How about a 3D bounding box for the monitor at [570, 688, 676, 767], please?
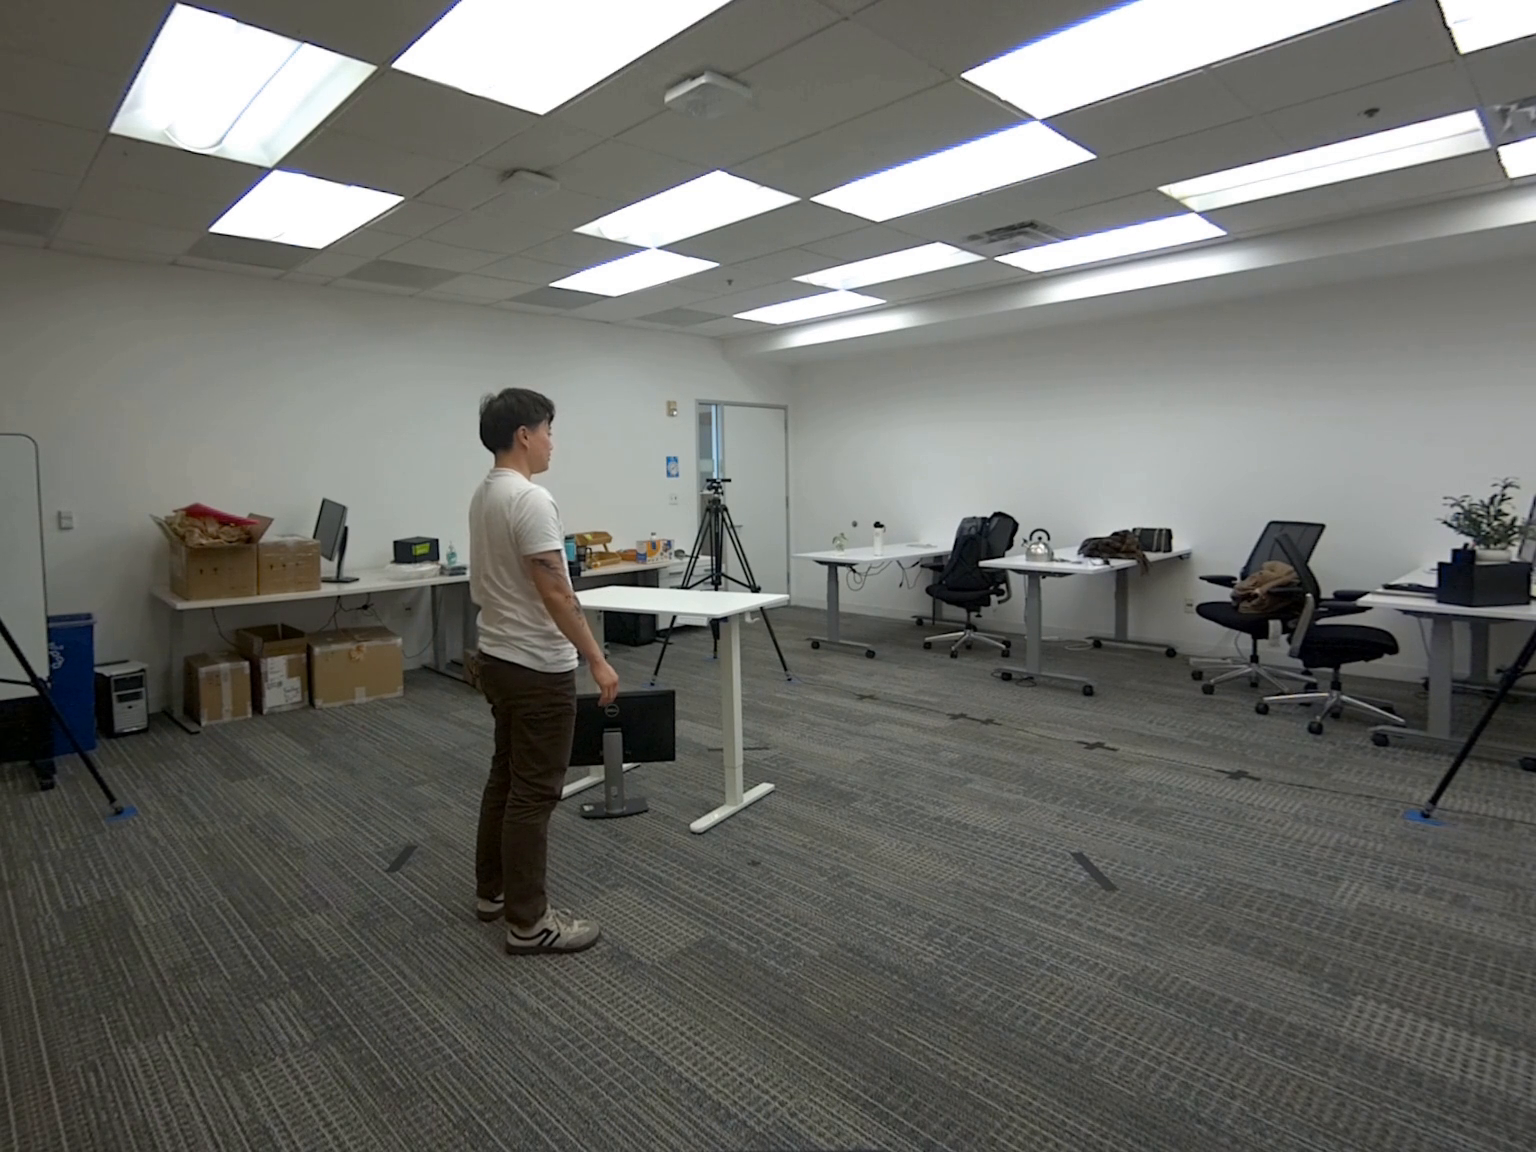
[{"bbox_3d":[-0.653,0.744,3.611,0.534,0.520,0.190,-1,5,-9],"label":"monitor"}]
